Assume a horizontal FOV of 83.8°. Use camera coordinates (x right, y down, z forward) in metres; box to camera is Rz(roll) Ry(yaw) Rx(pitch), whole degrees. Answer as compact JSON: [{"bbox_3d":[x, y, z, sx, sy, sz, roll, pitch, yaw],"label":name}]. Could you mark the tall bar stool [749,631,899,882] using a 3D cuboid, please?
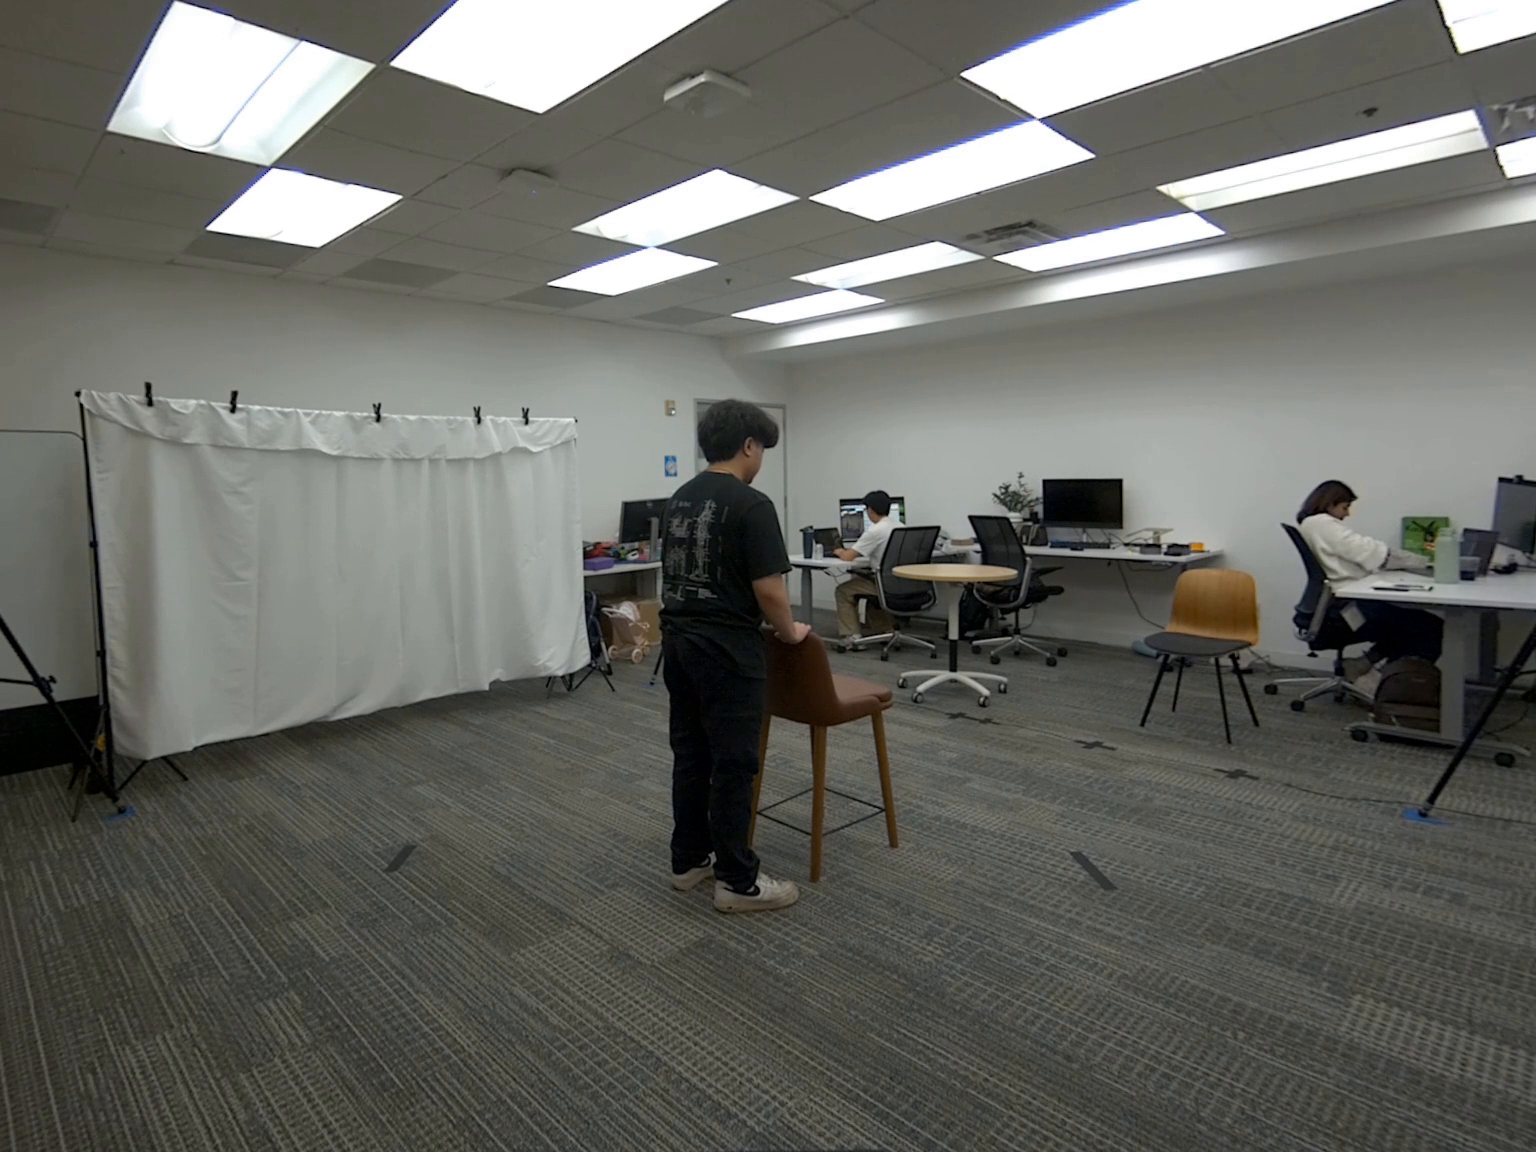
[{"bbox_3d":[0.179,0.590,3.195,0.456,0.885,0.470,-7,8,-42],"label":"tall bar stool"}]
